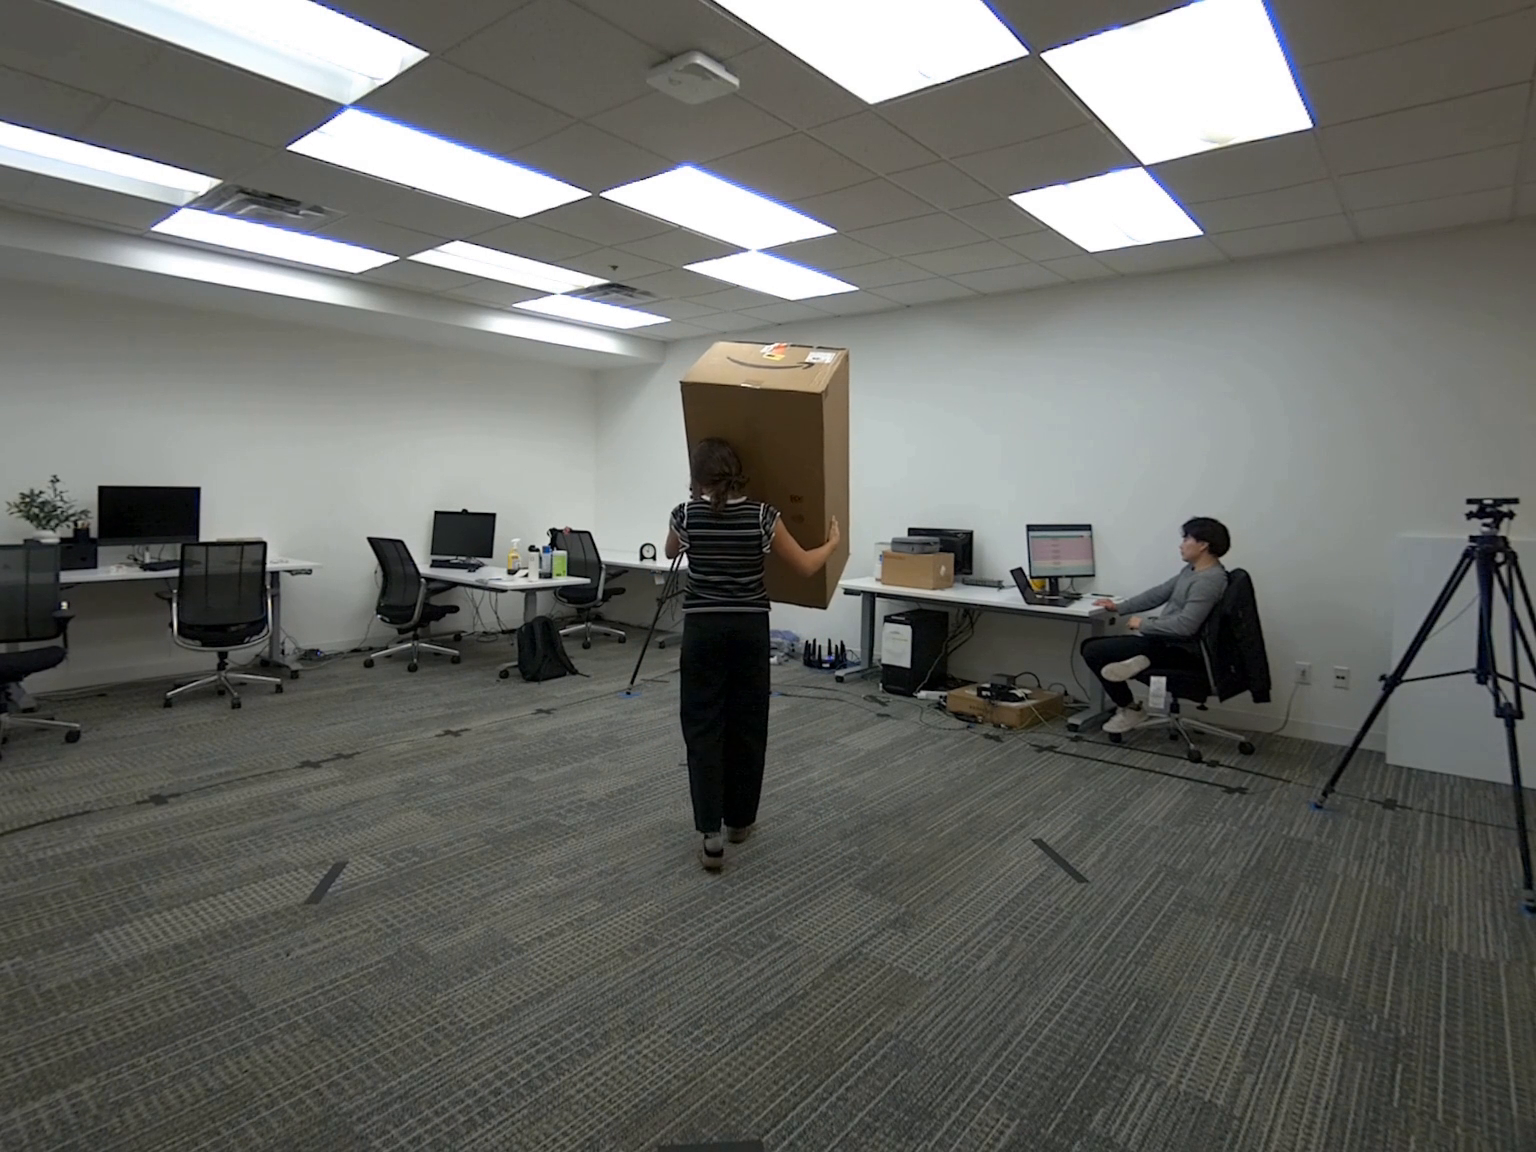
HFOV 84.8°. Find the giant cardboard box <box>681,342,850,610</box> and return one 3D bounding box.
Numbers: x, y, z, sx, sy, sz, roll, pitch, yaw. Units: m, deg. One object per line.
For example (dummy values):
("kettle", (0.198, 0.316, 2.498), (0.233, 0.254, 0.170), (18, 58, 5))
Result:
("giant cardboard box", (0.003, -0.423, 3.628), (0.590, 0.996, 0.429), (8, 36, 18))
